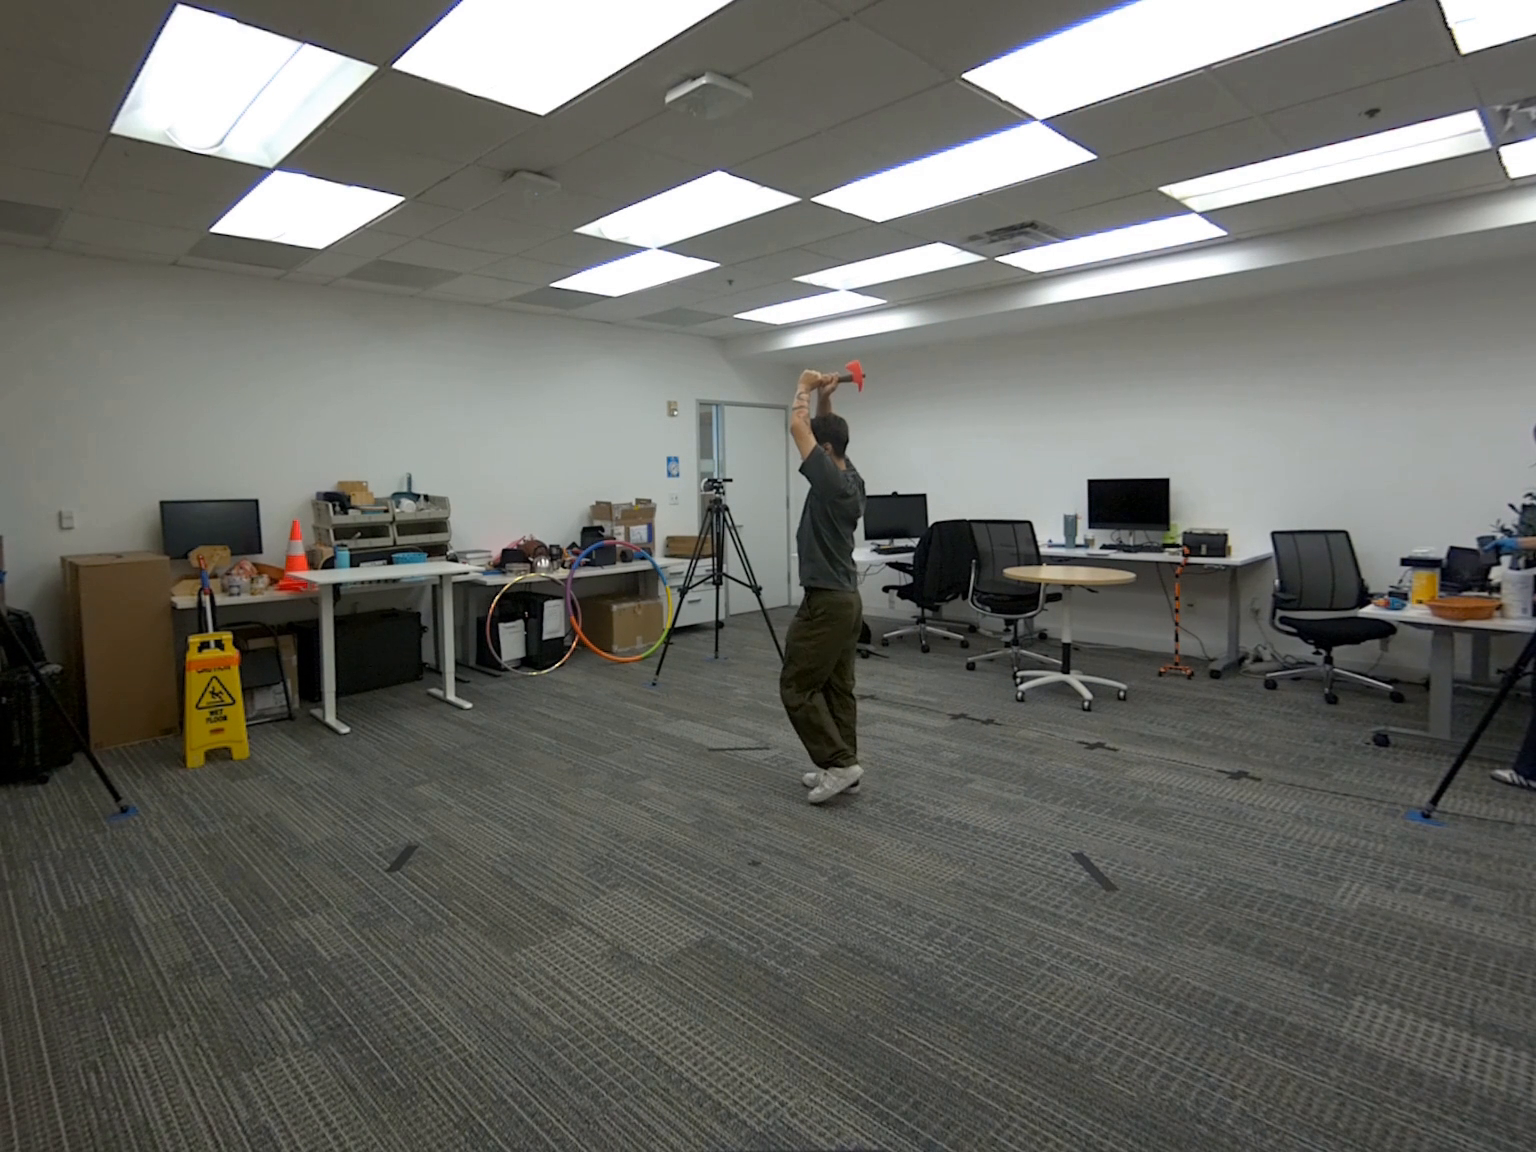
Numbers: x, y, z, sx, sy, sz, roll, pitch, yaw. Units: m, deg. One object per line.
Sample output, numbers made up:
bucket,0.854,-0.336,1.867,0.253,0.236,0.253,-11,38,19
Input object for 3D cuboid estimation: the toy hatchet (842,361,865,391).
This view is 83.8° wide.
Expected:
toy hatchet,0.282,-0.879,3.694,0.271,0.129,0.030,12,21,4
